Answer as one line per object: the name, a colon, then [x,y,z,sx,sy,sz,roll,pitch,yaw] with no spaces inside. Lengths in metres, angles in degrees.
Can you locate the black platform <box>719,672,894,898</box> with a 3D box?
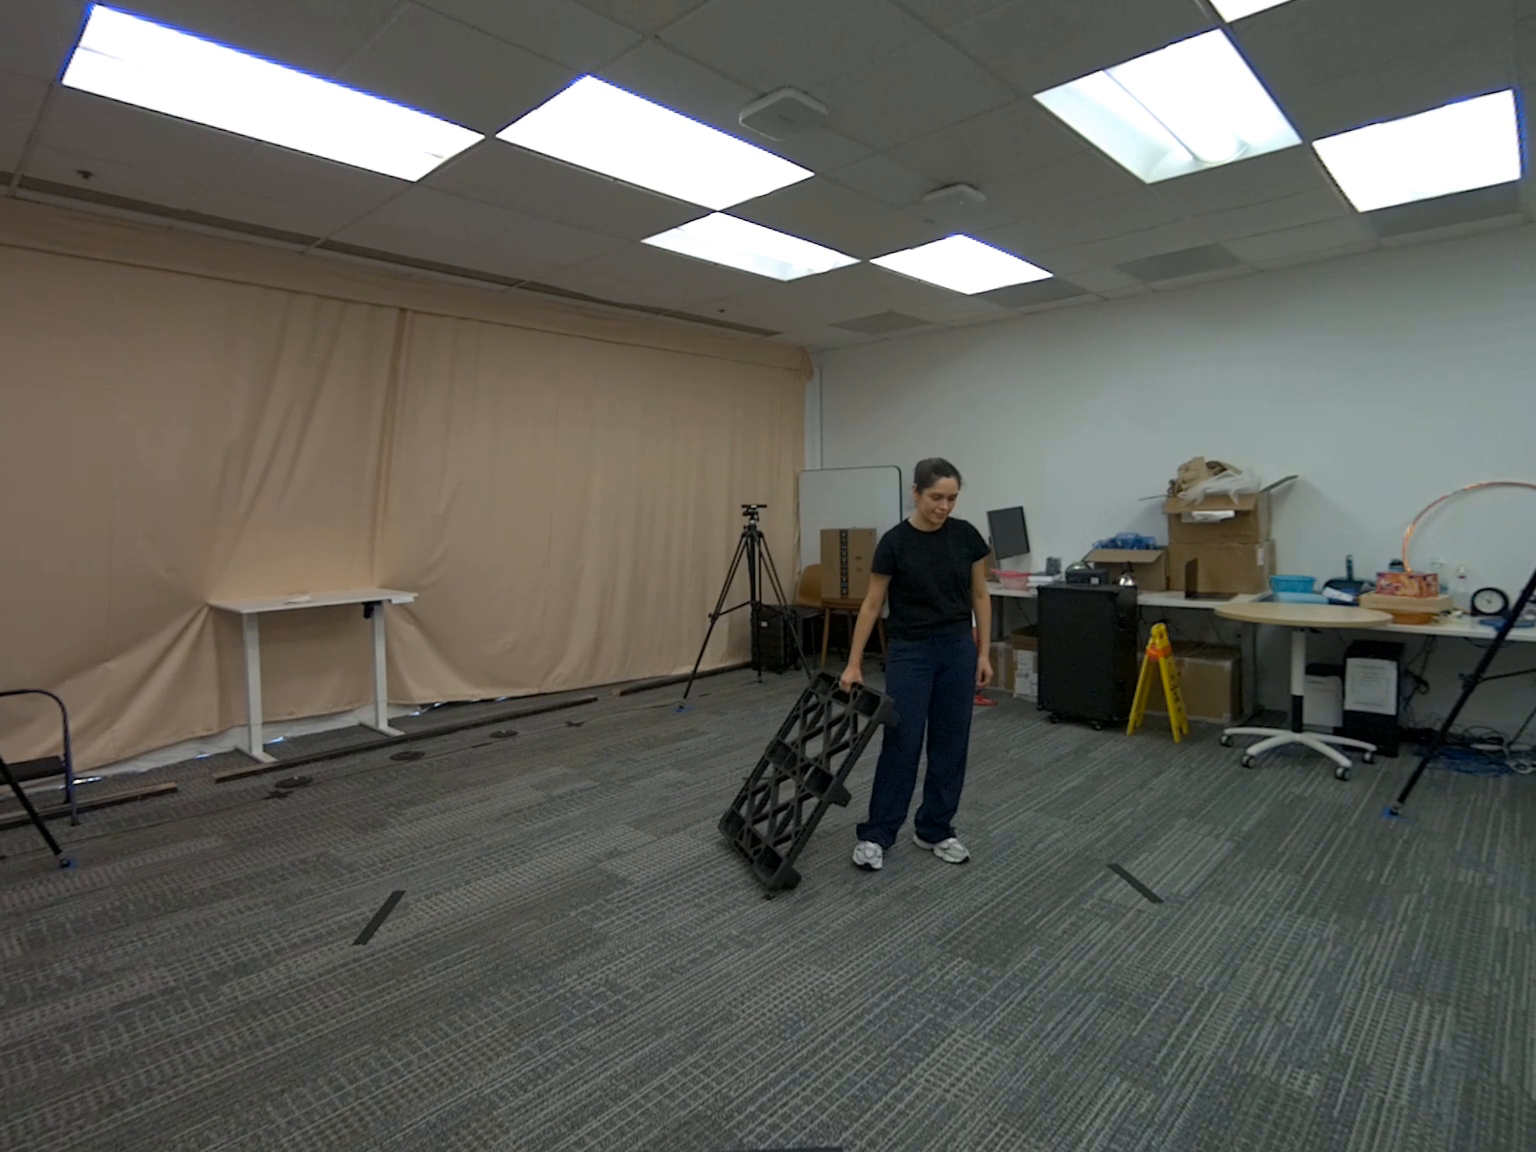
black platform: [0.172,0.772,3.294,0.140,0.805,0.619,36,-9,-20]
